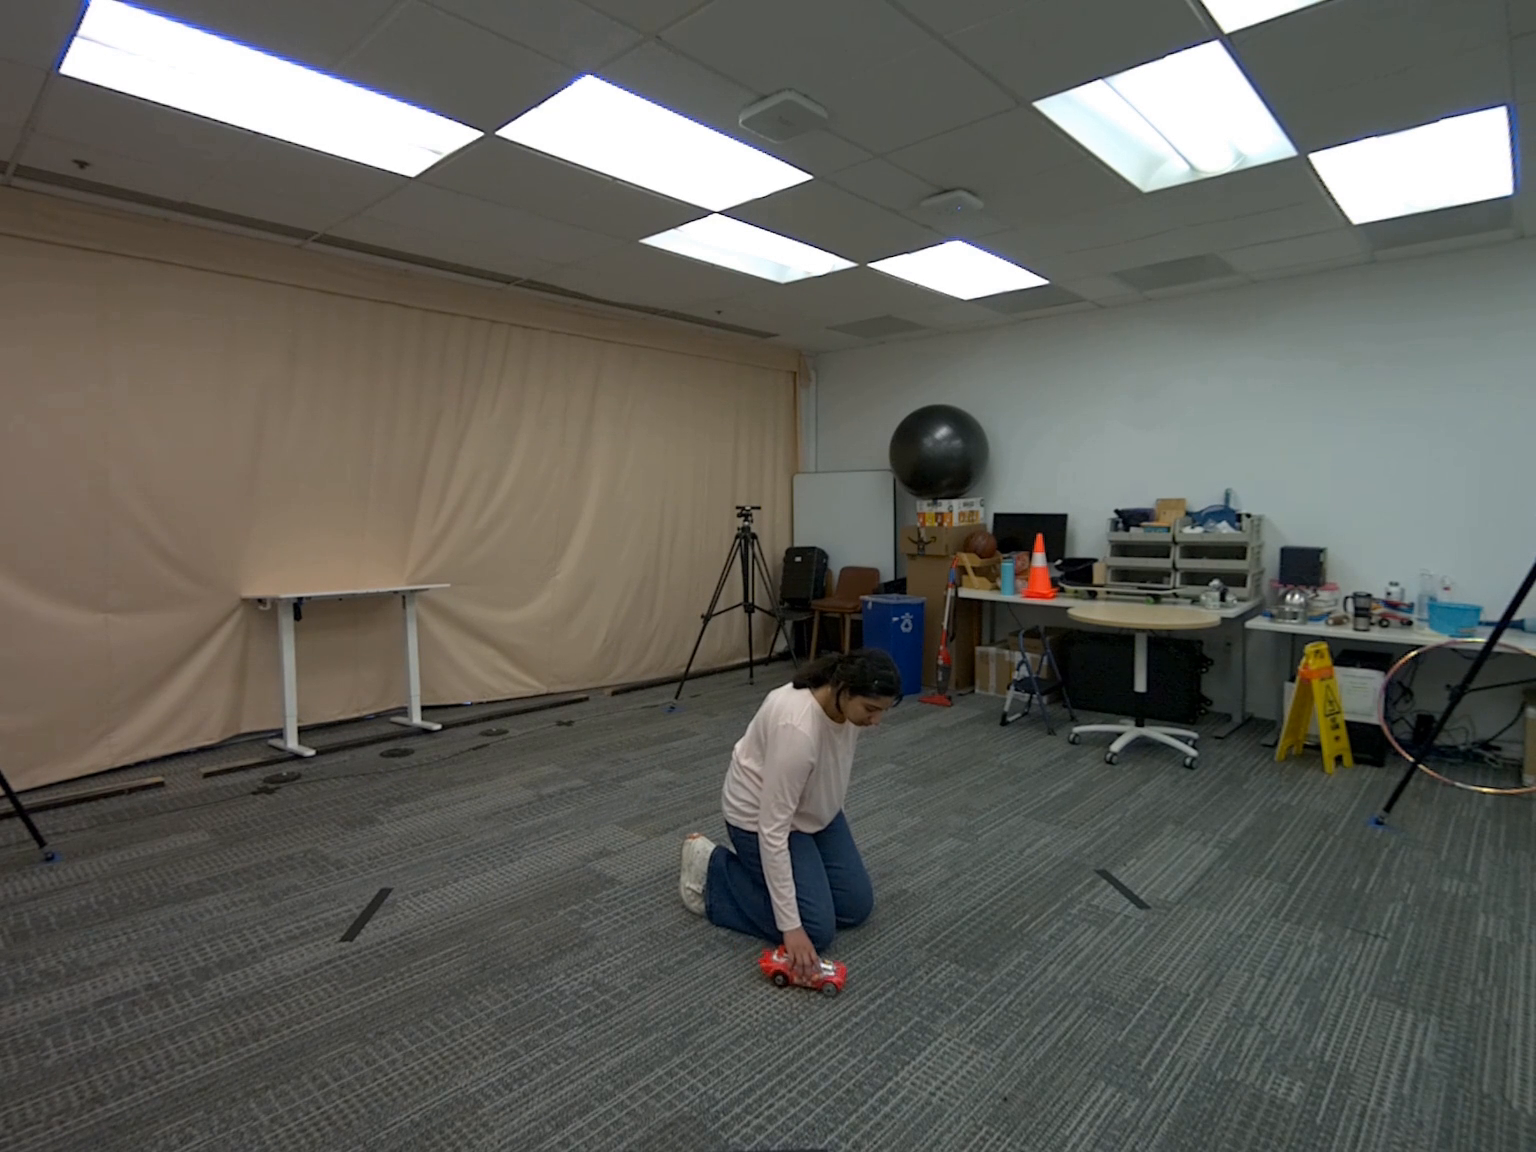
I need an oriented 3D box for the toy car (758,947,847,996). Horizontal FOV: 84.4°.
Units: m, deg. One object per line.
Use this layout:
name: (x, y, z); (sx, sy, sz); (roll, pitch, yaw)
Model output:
toy car: (0.096, 1.150, 2.472); (0.259, 0.083, 0.128); (13, 7, 16)
